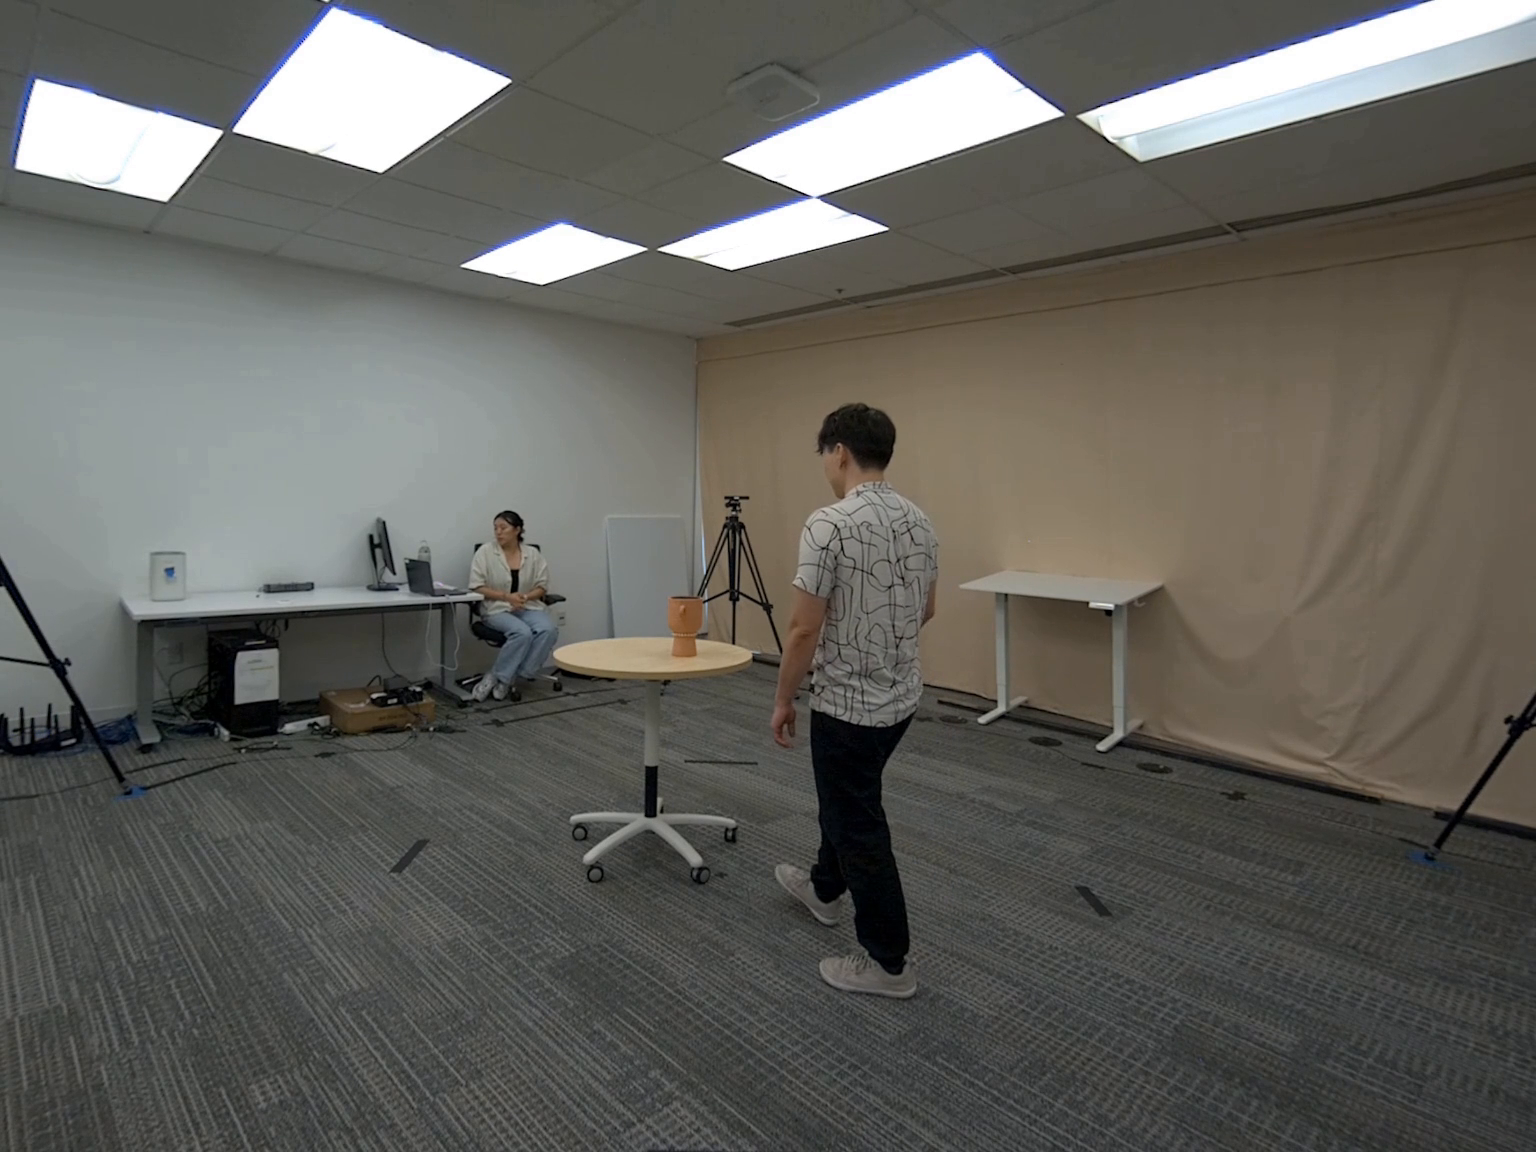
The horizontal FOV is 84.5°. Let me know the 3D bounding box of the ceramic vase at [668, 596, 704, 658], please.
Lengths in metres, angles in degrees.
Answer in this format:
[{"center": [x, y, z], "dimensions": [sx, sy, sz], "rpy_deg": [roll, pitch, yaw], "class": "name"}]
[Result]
[{"center": [-0.325, 0.195, 3.228], "dimensions": [0.155, 0.219, 0.138], "rpy_deg": [-2, 4, -45], "class": "ceramic vase"}]
